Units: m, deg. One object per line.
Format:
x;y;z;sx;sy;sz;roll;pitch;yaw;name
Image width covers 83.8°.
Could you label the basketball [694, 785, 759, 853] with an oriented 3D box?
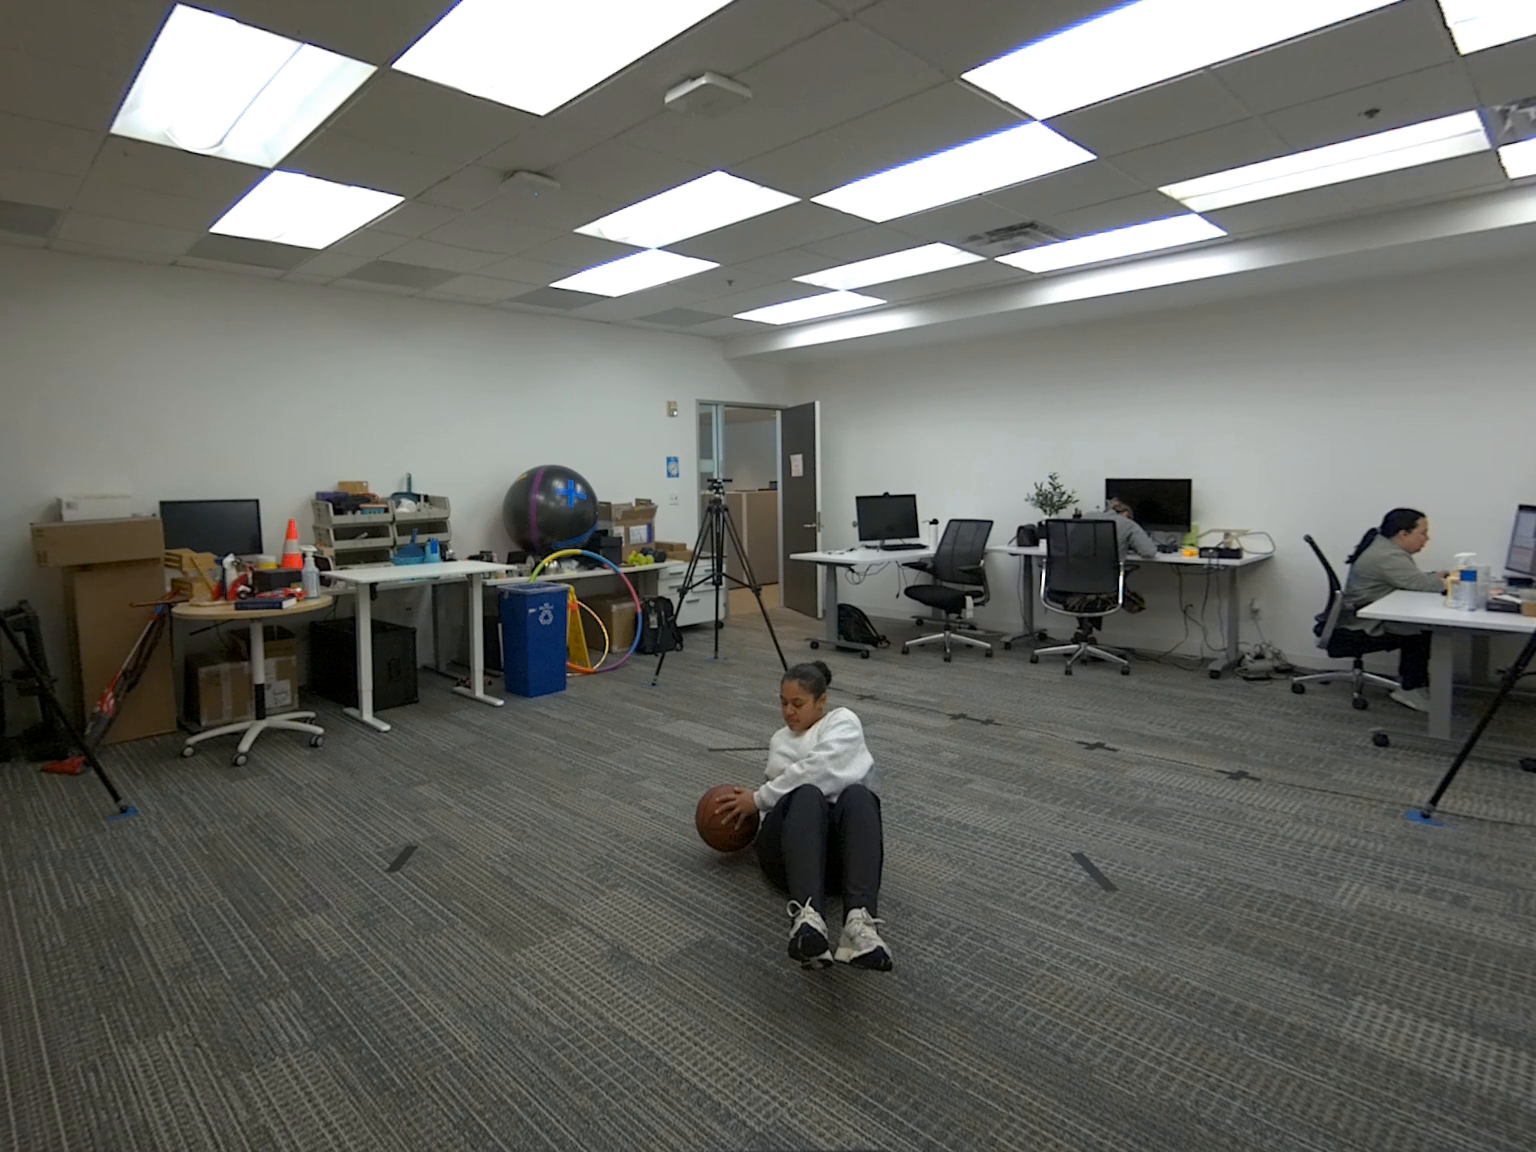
-0.140;0.855;3.113;0.236;0.235;0.237;-1;5;-2;basketball
